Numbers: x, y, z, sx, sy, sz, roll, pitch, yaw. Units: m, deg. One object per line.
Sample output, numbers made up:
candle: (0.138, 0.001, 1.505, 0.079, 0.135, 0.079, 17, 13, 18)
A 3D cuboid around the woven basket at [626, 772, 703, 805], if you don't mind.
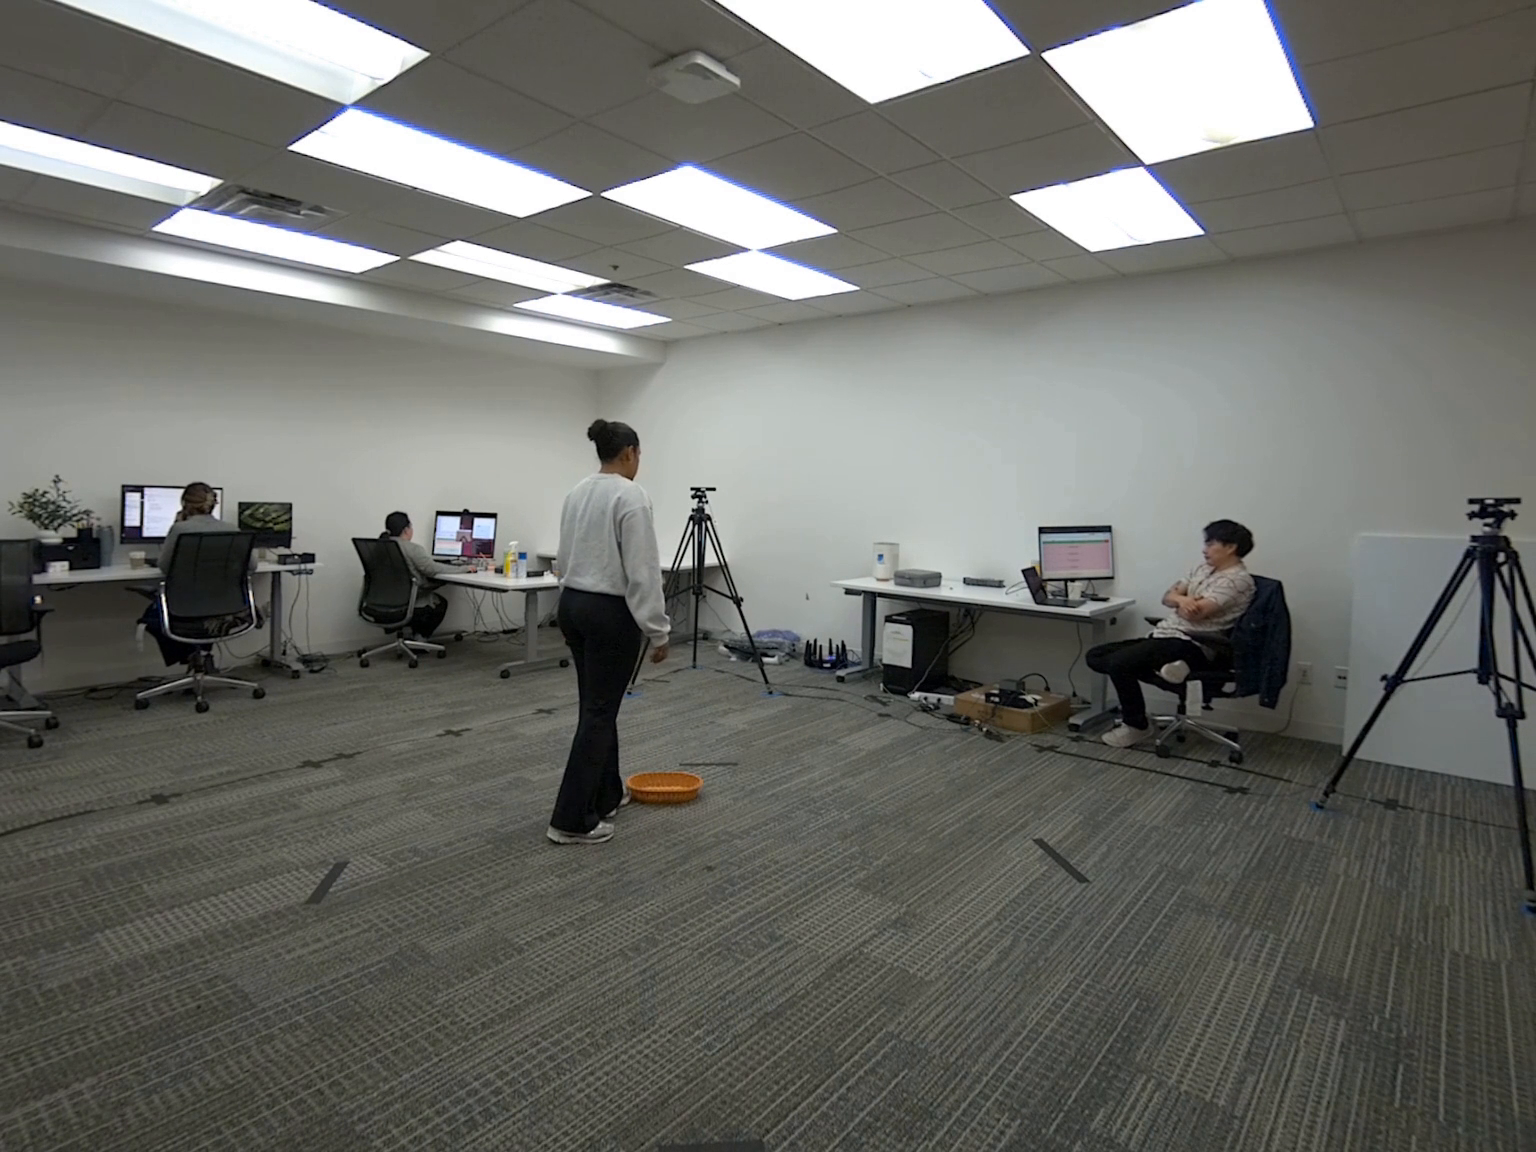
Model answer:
woven basket: (-0.478, 0.953, 3.831, 0.350, 0.073, 0.254, 1, 6, -2)
